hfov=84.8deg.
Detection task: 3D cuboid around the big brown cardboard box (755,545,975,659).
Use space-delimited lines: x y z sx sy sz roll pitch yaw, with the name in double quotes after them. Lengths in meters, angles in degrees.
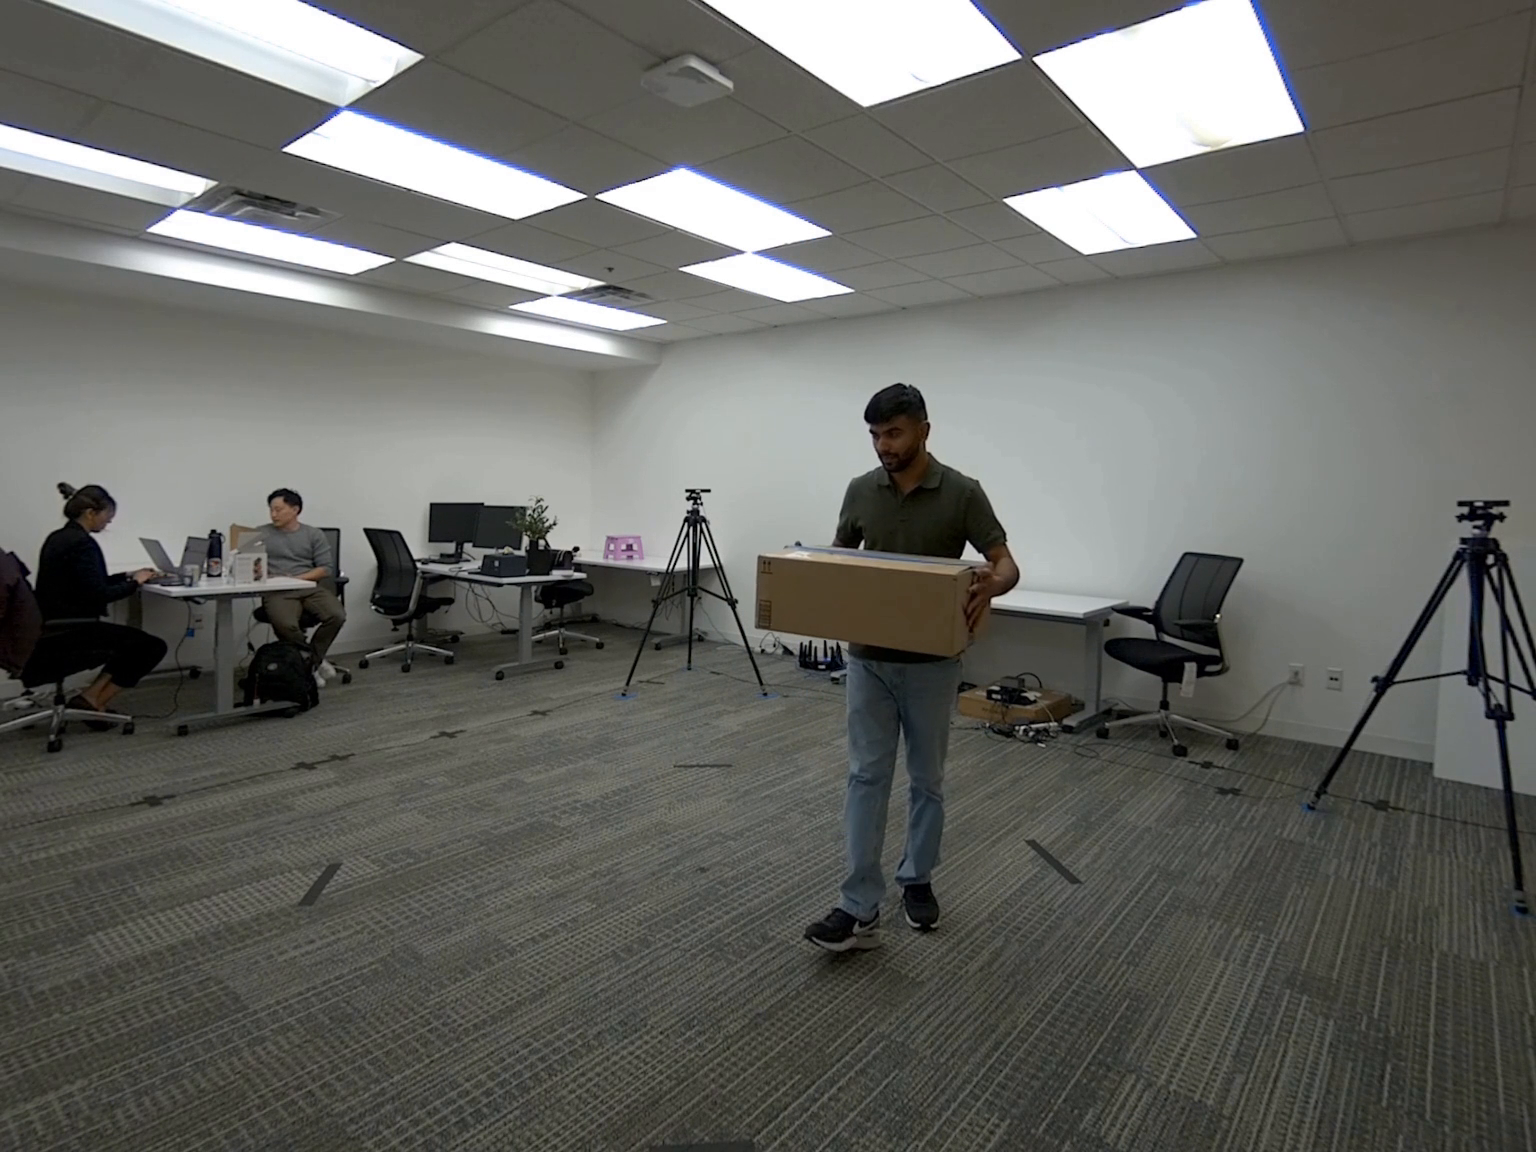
0.293 0.046 2.467 0.606 0.232 0.408 7 8 26 "big brown cardboard box"
